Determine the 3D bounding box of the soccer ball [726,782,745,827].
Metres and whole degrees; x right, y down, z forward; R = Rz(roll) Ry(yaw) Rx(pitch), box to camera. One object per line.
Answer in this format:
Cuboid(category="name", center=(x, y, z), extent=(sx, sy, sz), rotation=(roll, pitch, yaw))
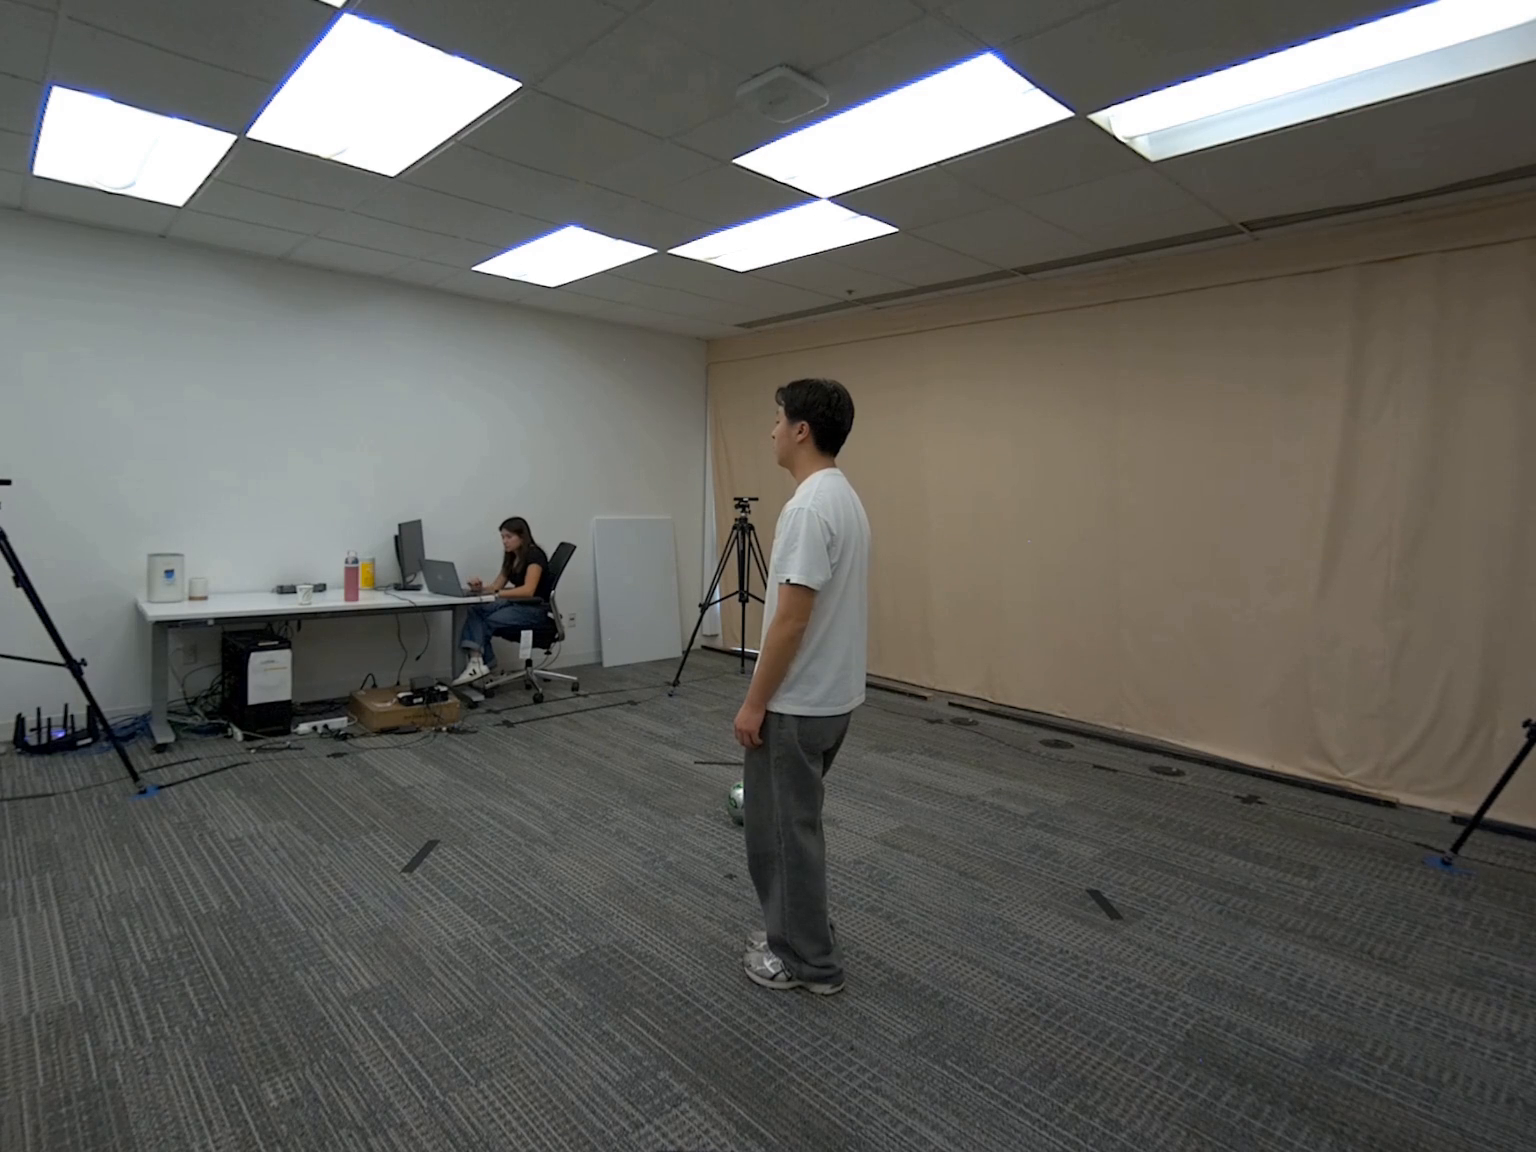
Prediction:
Cuboid(category="soccer ball", center=(-0.099, 0.979, 3.621), extent=(0.187, 0.187, 0.188), rotation=(1, 4, -1))
